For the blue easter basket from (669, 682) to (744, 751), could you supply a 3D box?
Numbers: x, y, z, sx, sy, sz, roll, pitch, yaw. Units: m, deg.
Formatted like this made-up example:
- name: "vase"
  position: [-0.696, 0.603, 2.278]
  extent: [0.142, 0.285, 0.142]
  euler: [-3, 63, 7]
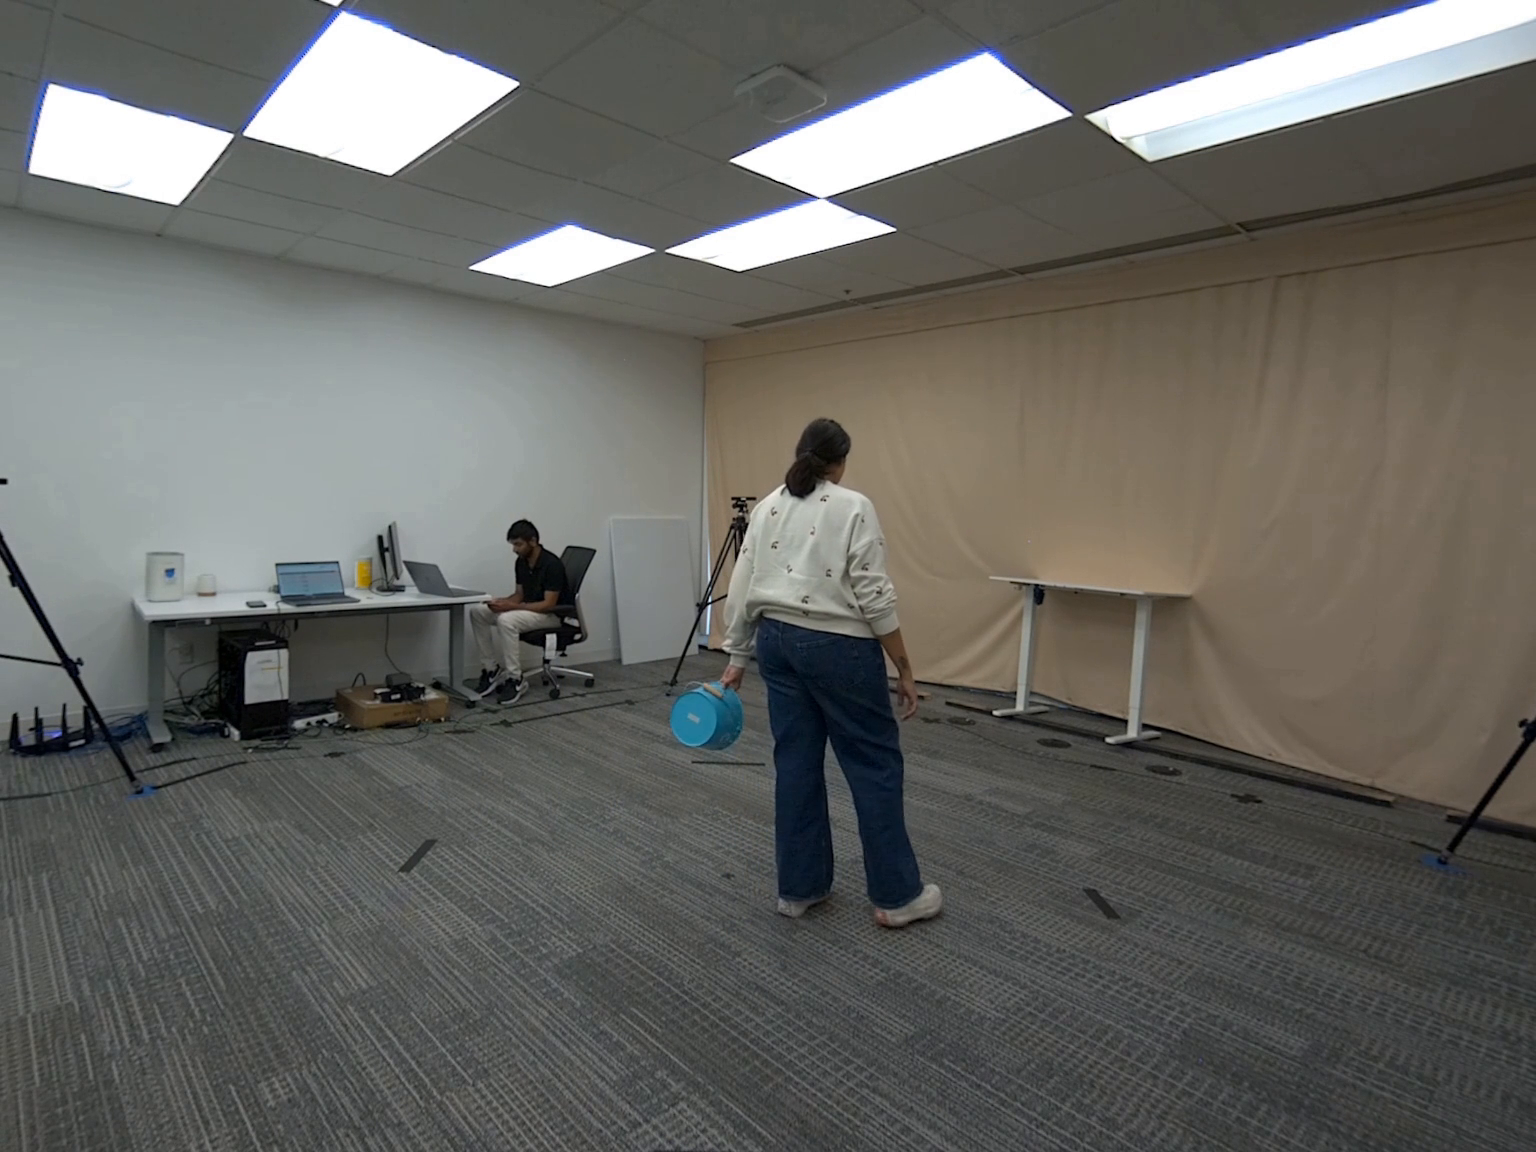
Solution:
- name: "blue easter basket"
  position: [-0.206, 0.484, 2.926]
  extent: [0.248, 0.244, 0.152]
  euler: [3, -5, 27]
